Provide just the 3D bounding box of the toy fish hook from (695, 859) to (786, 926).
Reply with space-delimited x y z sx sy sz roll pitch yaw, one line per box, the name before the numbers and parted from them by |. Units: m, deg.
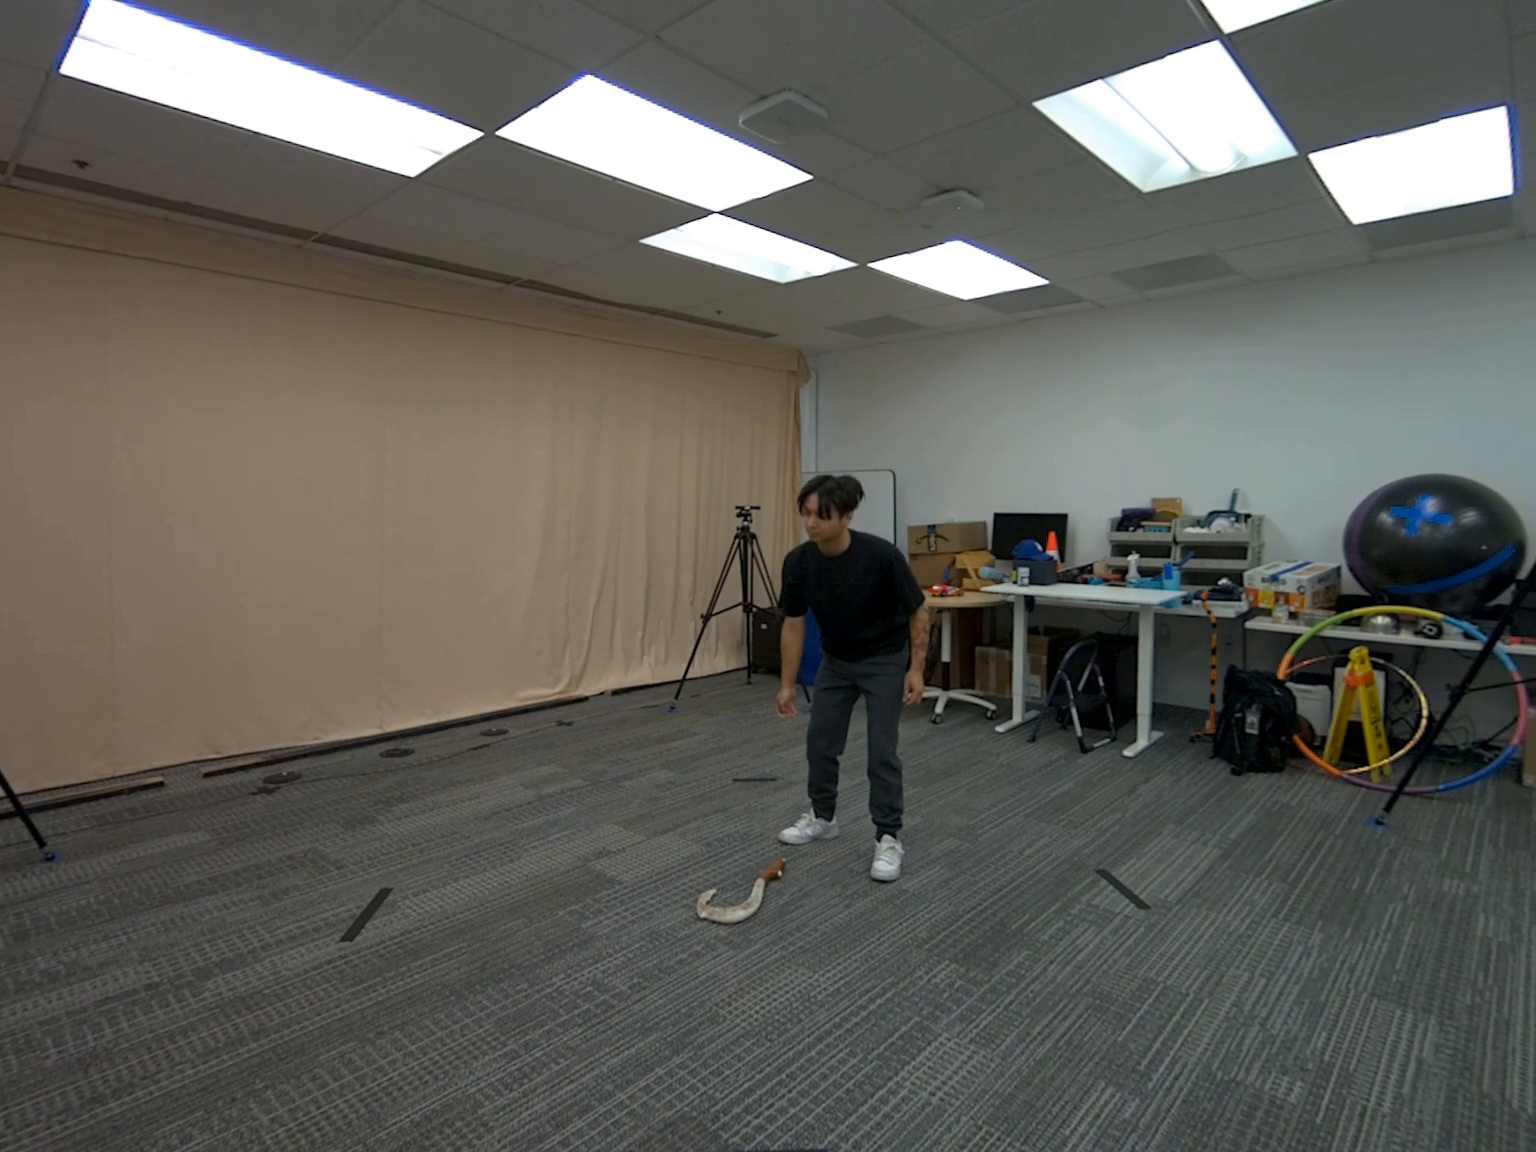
toy fish hook | -0.090 1.118 3.031 0.230 0.048 0.495 3 5 23
